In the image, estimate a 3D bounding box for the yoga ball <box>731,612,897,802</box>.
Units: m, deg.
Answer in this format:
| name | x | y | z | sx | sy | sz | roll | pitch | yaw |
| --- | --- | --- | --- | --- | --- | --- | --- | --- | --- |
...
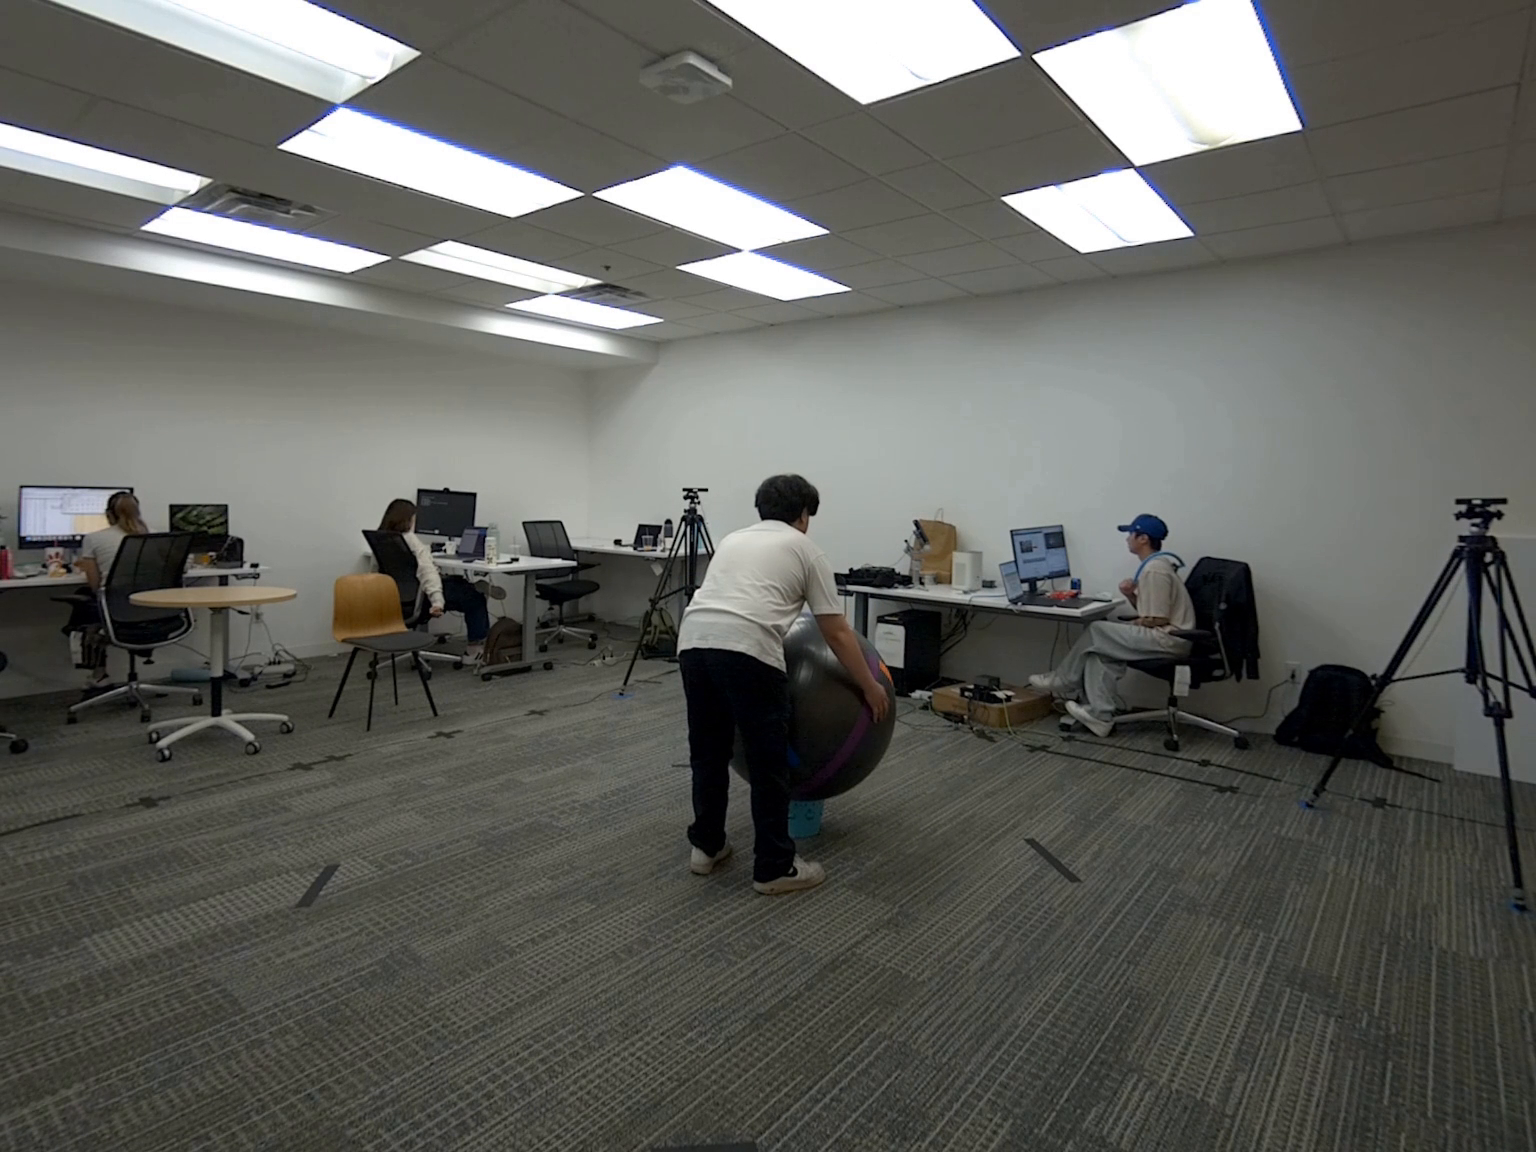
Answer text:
| name | x | y | z | sx | sy | sz | roll | pitch | yaw |
| --- | --- | --- | --- | --- | --- | --- | --- | --- | --- |
| yoga ball | 0.133 | 0.531 | 3.491 | 0.757 | 0.755 | 0.762 | 1 | 4 | -2 |
